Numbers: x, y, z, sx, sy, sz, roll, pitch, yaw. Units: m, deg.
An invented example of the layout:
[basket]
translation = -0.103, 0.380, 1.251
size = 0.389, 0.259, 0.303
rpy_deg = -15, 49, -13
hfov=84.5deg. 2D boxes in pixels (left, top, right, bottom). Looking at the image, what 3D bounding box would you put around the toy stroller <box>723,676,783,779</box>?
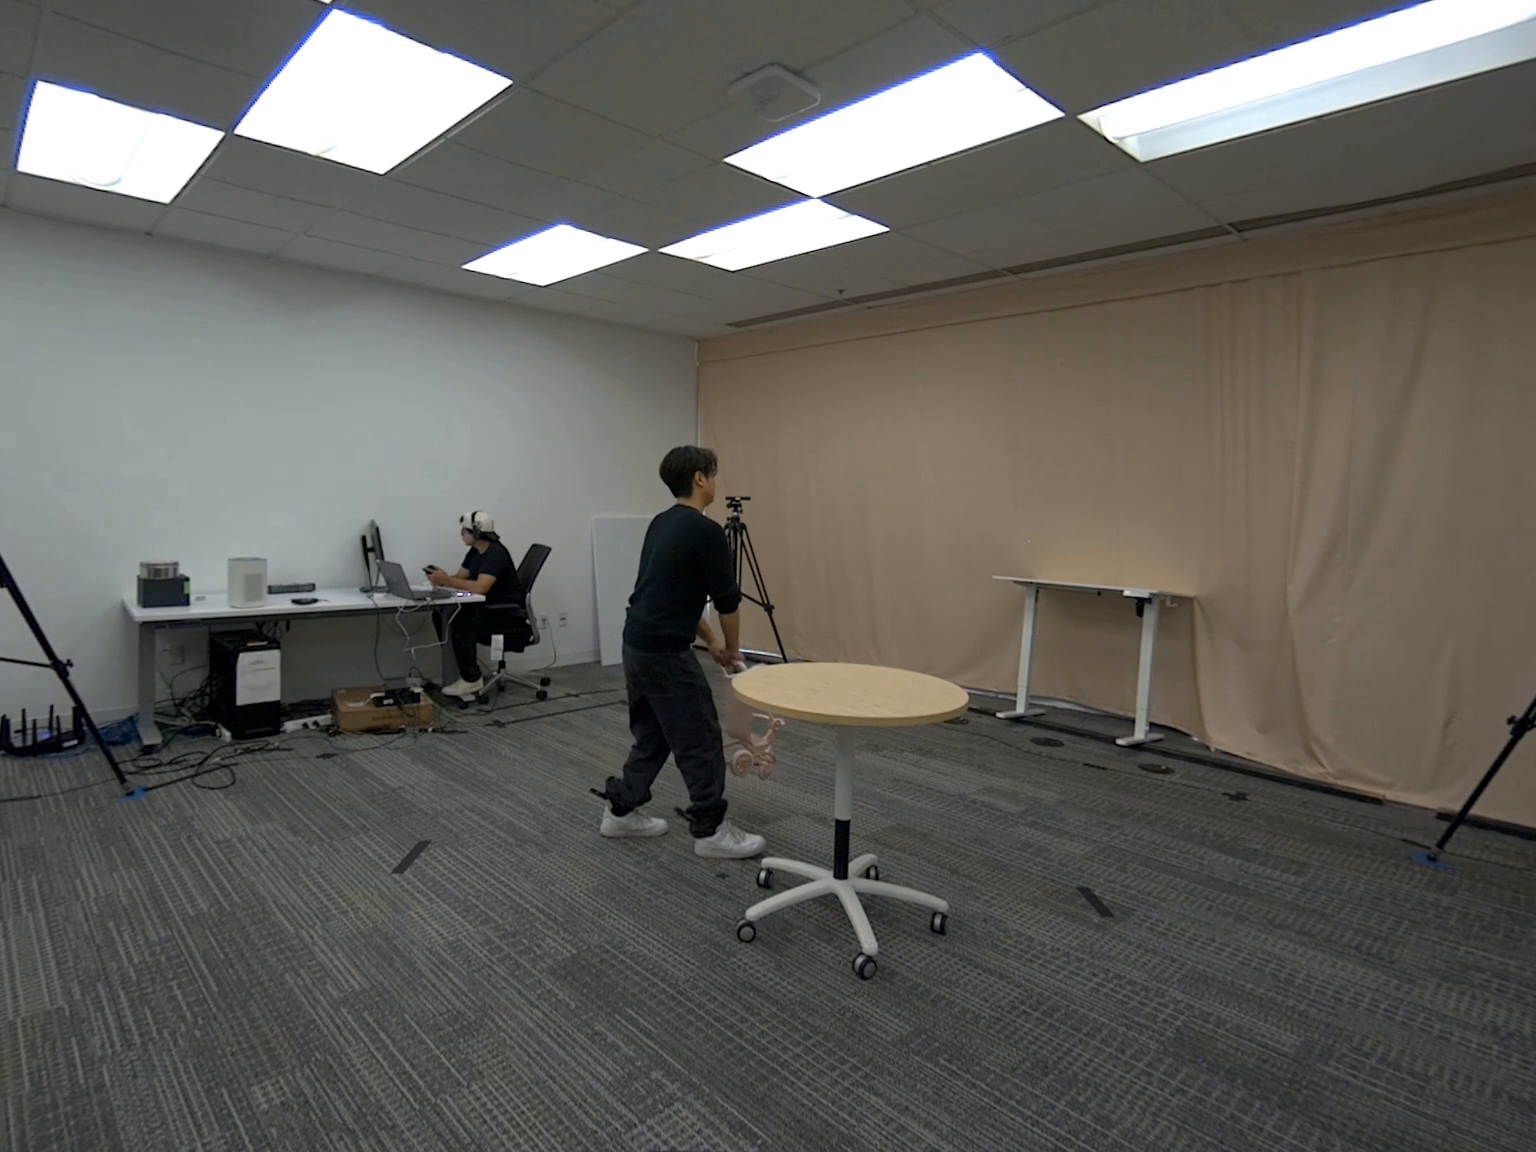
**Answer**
[toy stroller]
translation = -0.096, 0.611, 3.594
size = 0.333, 0.535, 0.288
rpy_deg = 6, -2, -35
